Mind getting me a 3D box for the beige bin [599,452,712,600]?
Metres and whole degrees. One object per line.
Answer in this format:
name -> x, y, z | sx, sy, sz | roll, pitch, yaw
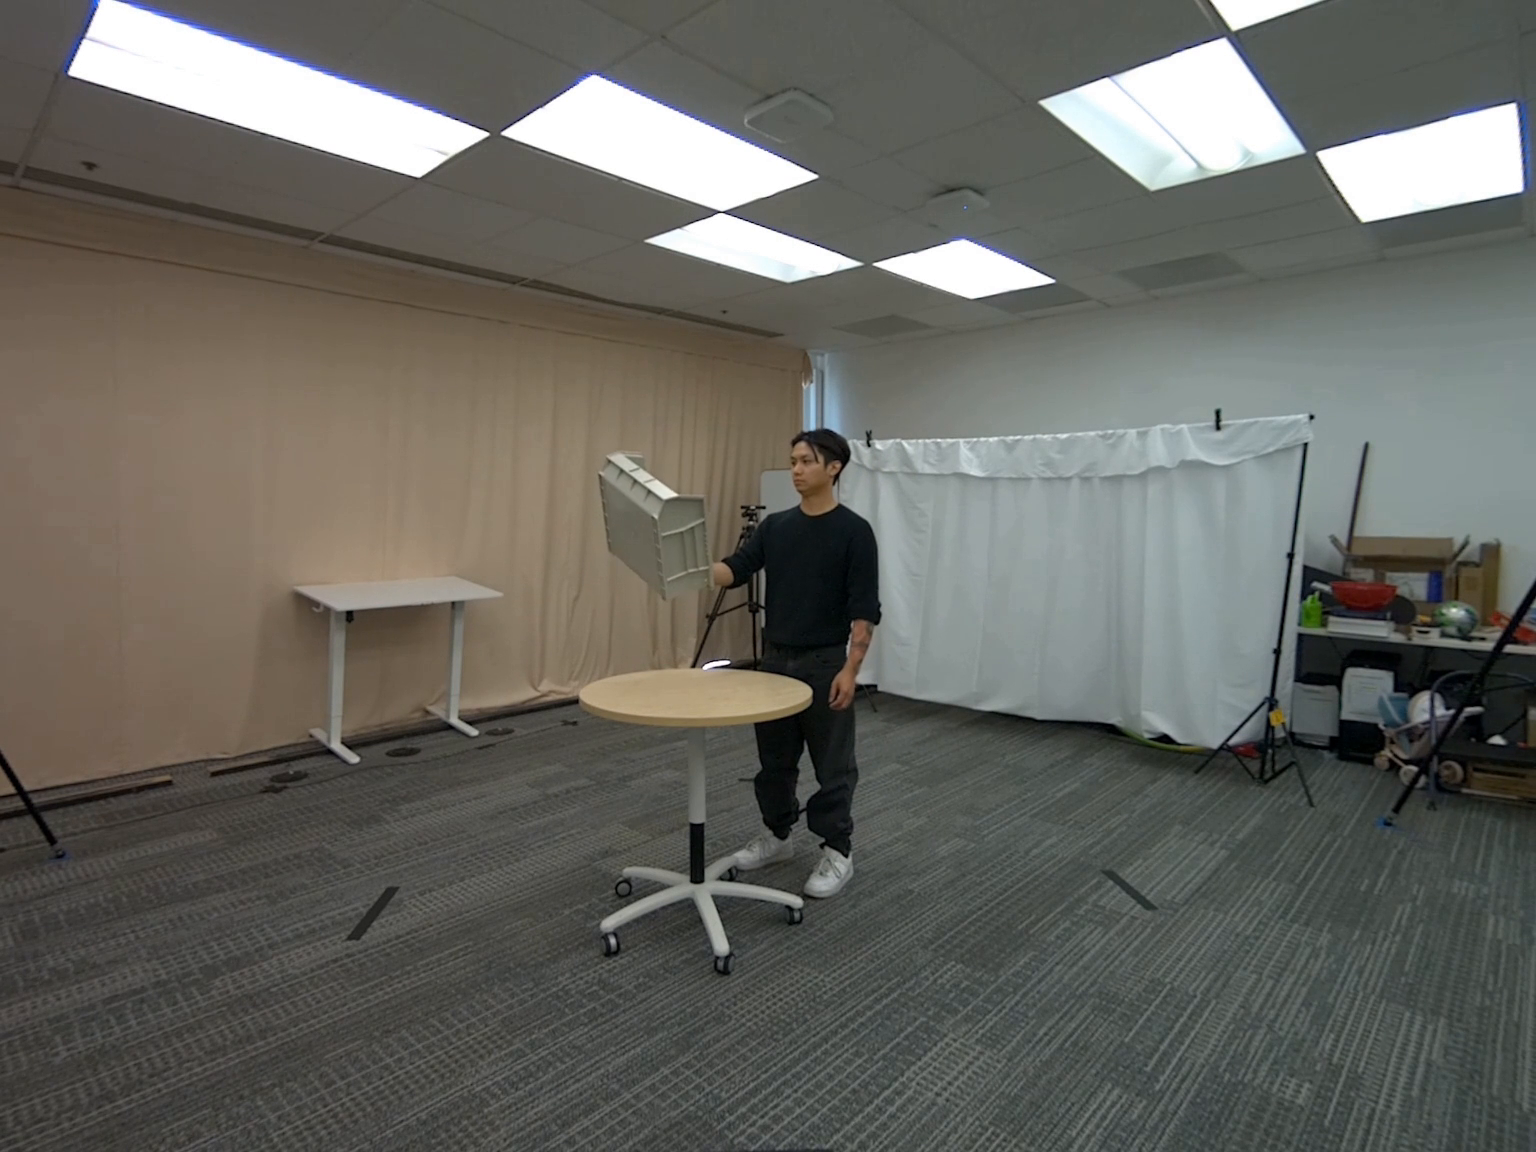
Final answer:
beige bin -> -0.376, -0.169, 2.778 | 0.185, 0.371, 0.438 | -19, 36, -30
